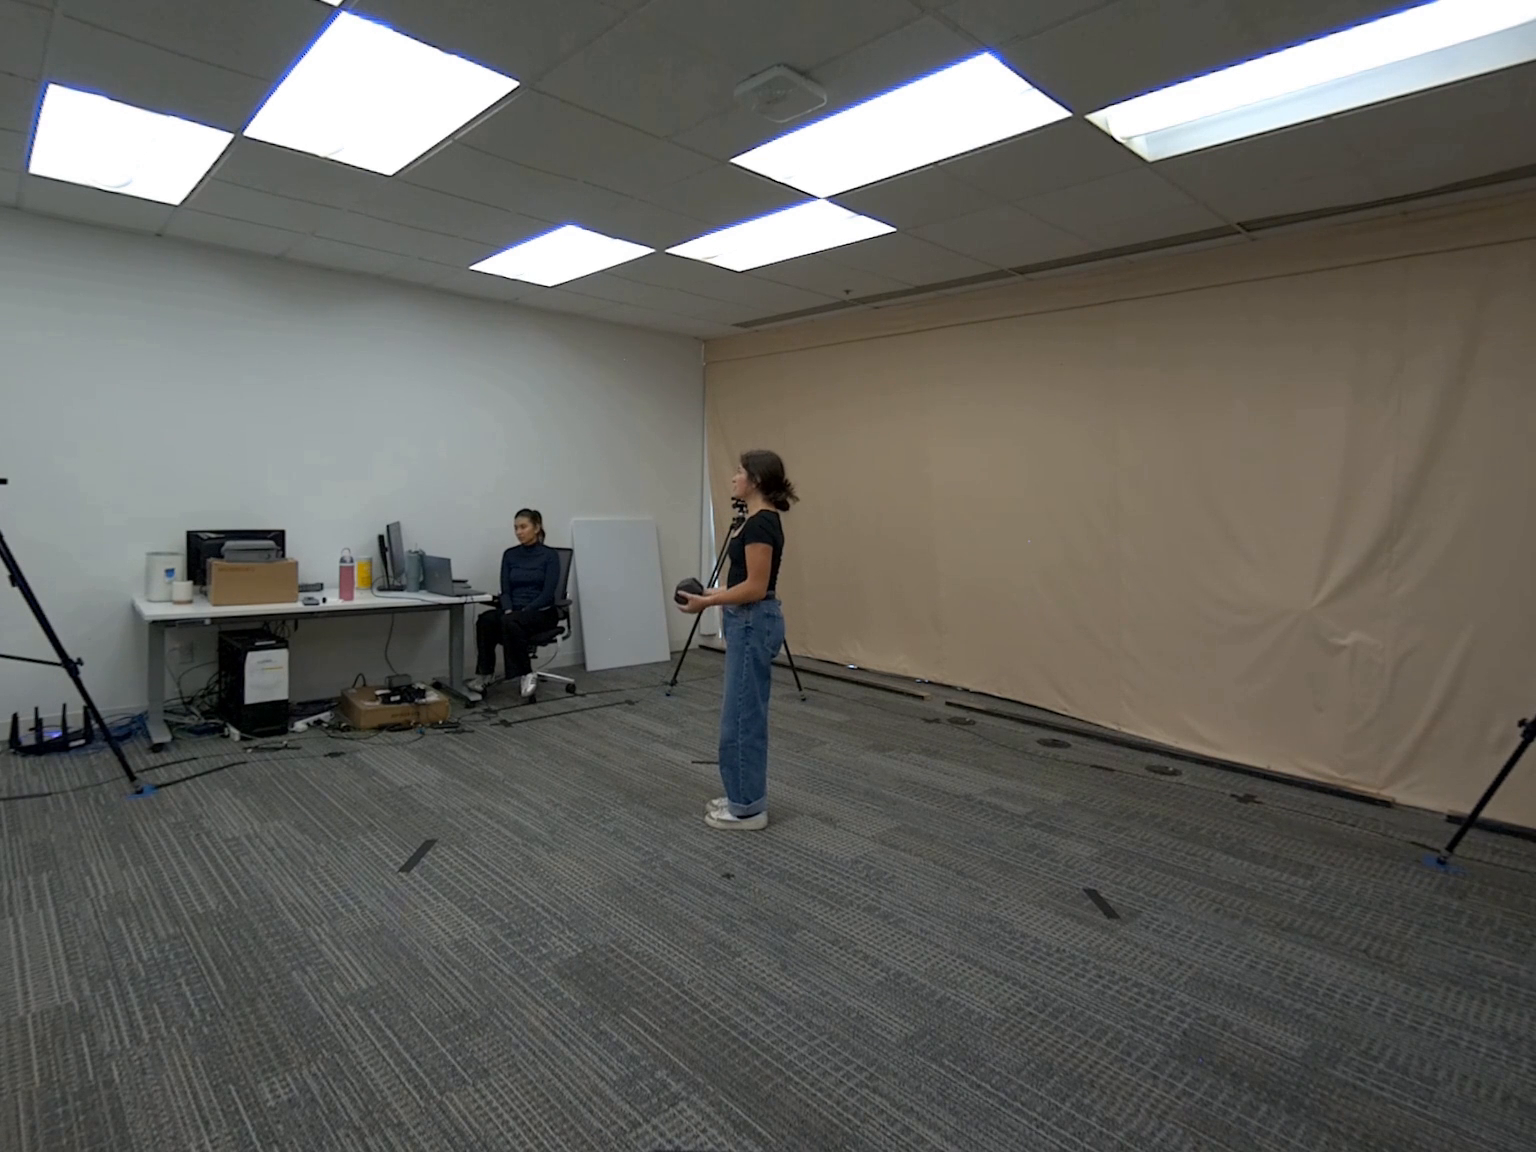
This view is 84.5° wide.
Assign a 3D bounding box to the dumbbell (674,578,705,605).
[{"bbox_3d":[-0.336,0.062,3.645,0.122,0.109,0.294,42,1,-4],"label":"dumbbell"}]
